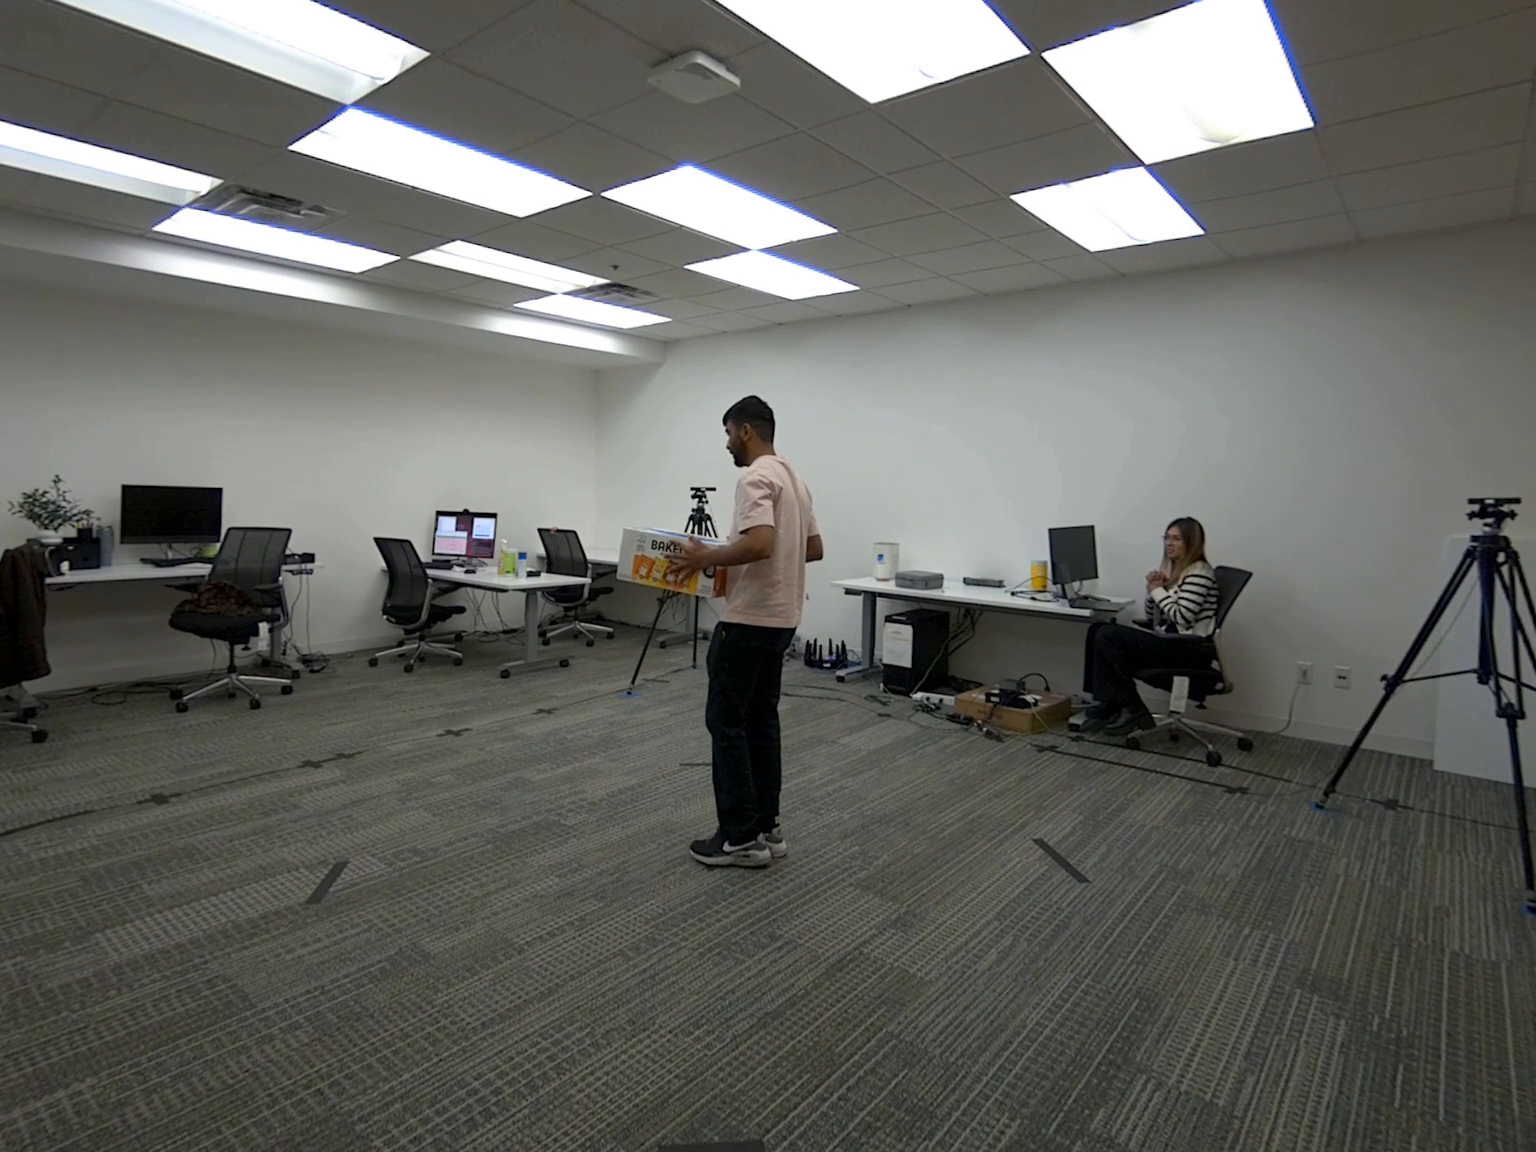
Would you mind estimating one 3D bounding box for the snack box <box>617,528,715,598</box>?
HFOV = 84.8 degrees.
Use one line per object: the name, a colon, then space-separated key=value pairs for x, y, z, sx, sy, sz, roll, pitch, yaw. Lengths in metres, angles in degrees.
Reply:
snack box: x=-0.338 y=-0.062 z=3.354 sx=0.415 sy=0.205 sz=0.333 roll=10 pitch=5 yaw=21
